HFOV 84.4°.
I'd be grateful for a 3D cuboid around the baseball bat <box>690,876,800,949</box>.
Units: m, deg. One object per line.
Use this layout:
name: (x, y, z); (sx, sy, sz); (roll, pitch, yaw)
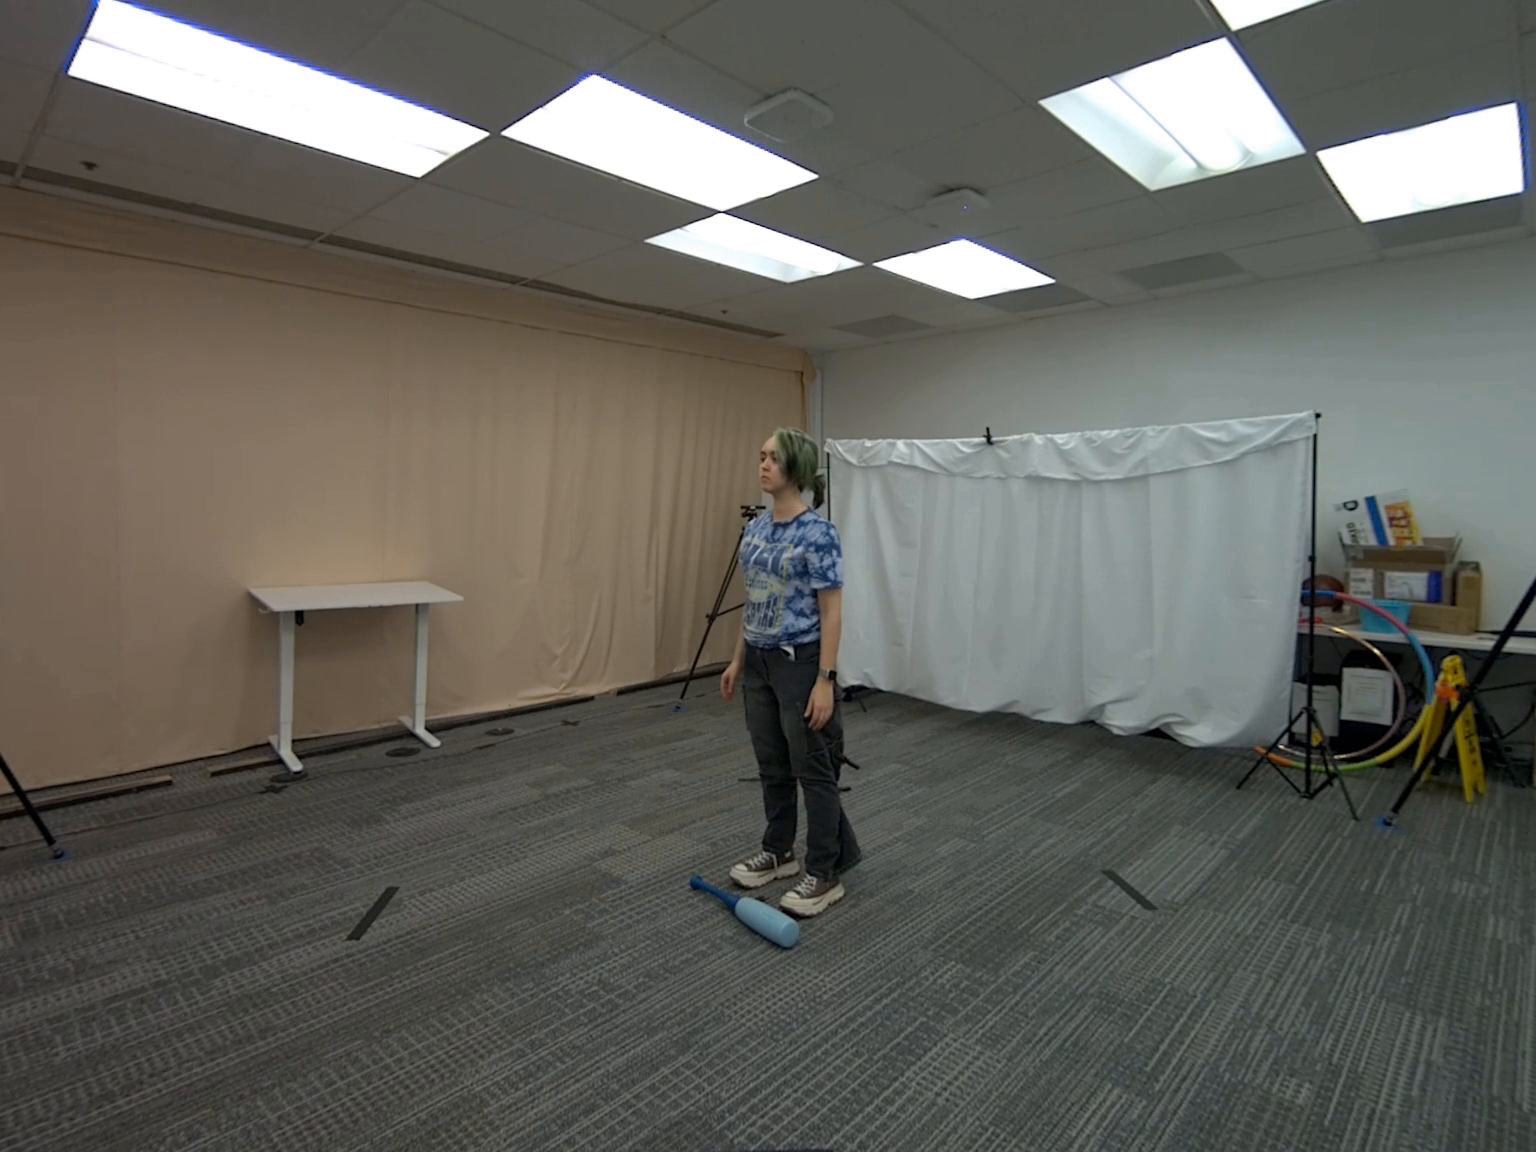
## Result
baseball bat: (-0.094, 1.113, 2.856); (0.086, 0.089, 0.560); (-3, 3, -36)
